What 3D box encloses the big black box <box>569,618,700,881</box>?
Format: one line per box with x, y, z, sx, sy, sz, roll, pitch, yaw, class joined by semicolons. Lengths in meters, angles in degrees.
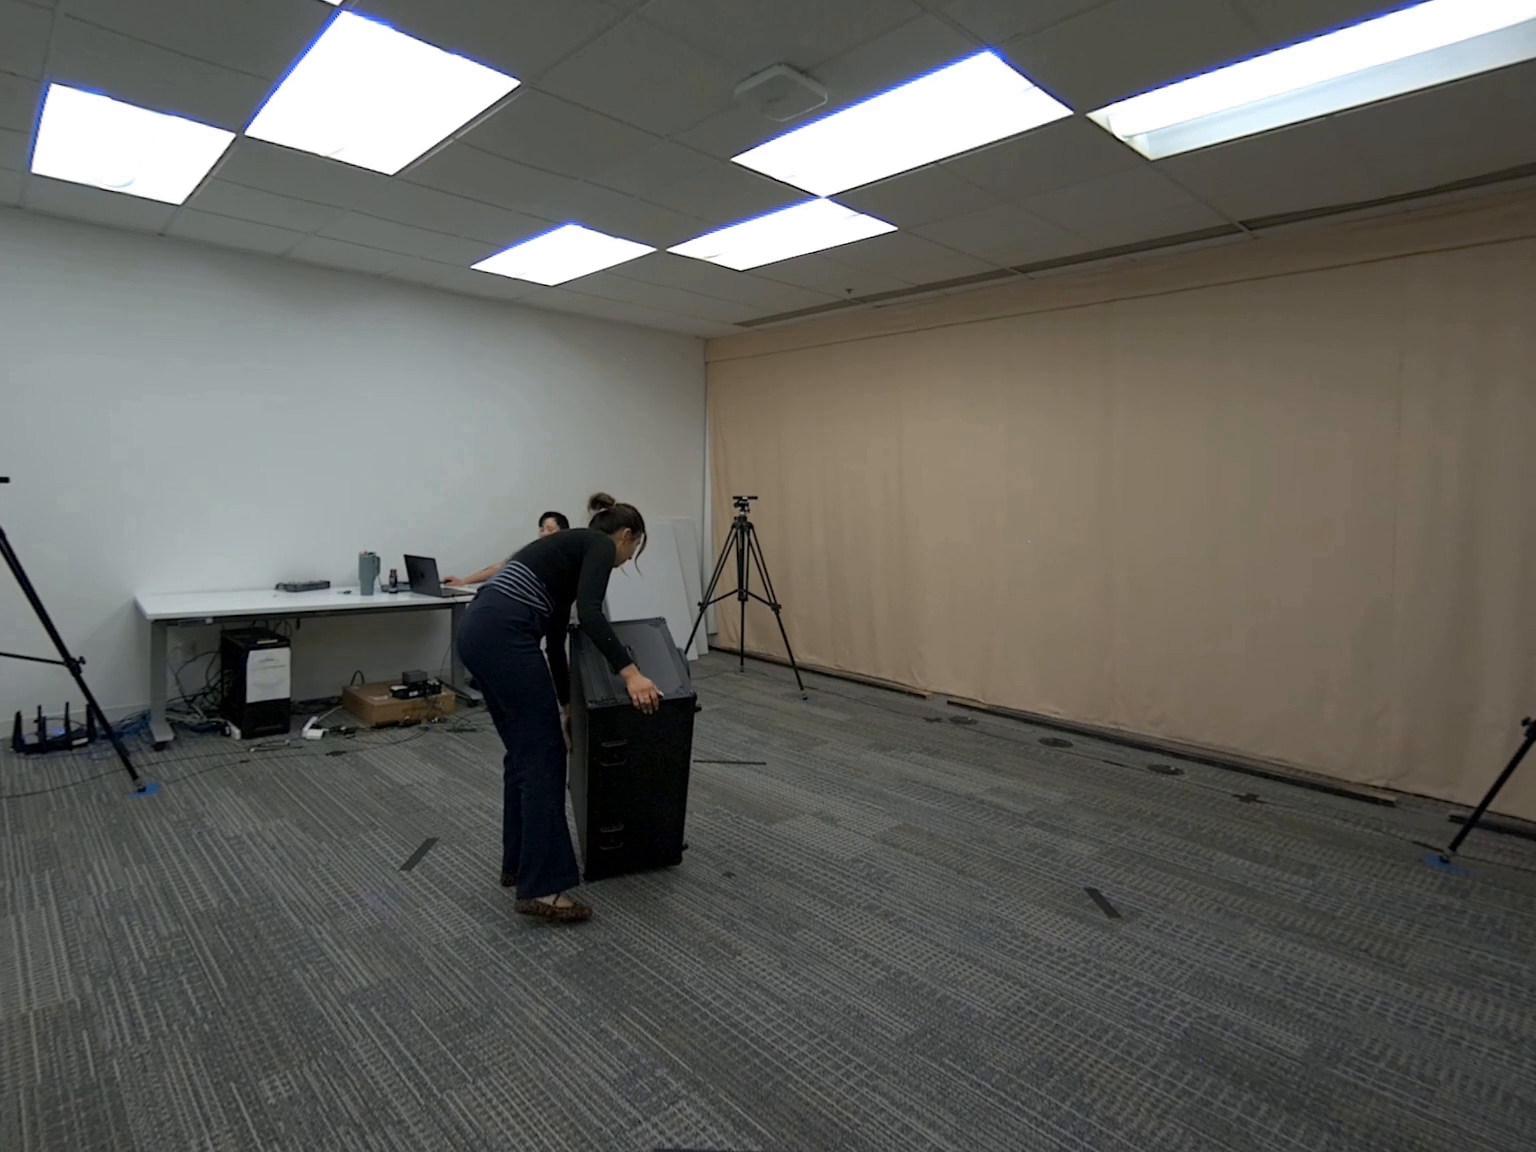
-0.519;0.654;3.101;0.391;0.848;0.537;-3;29;-20;big black box
